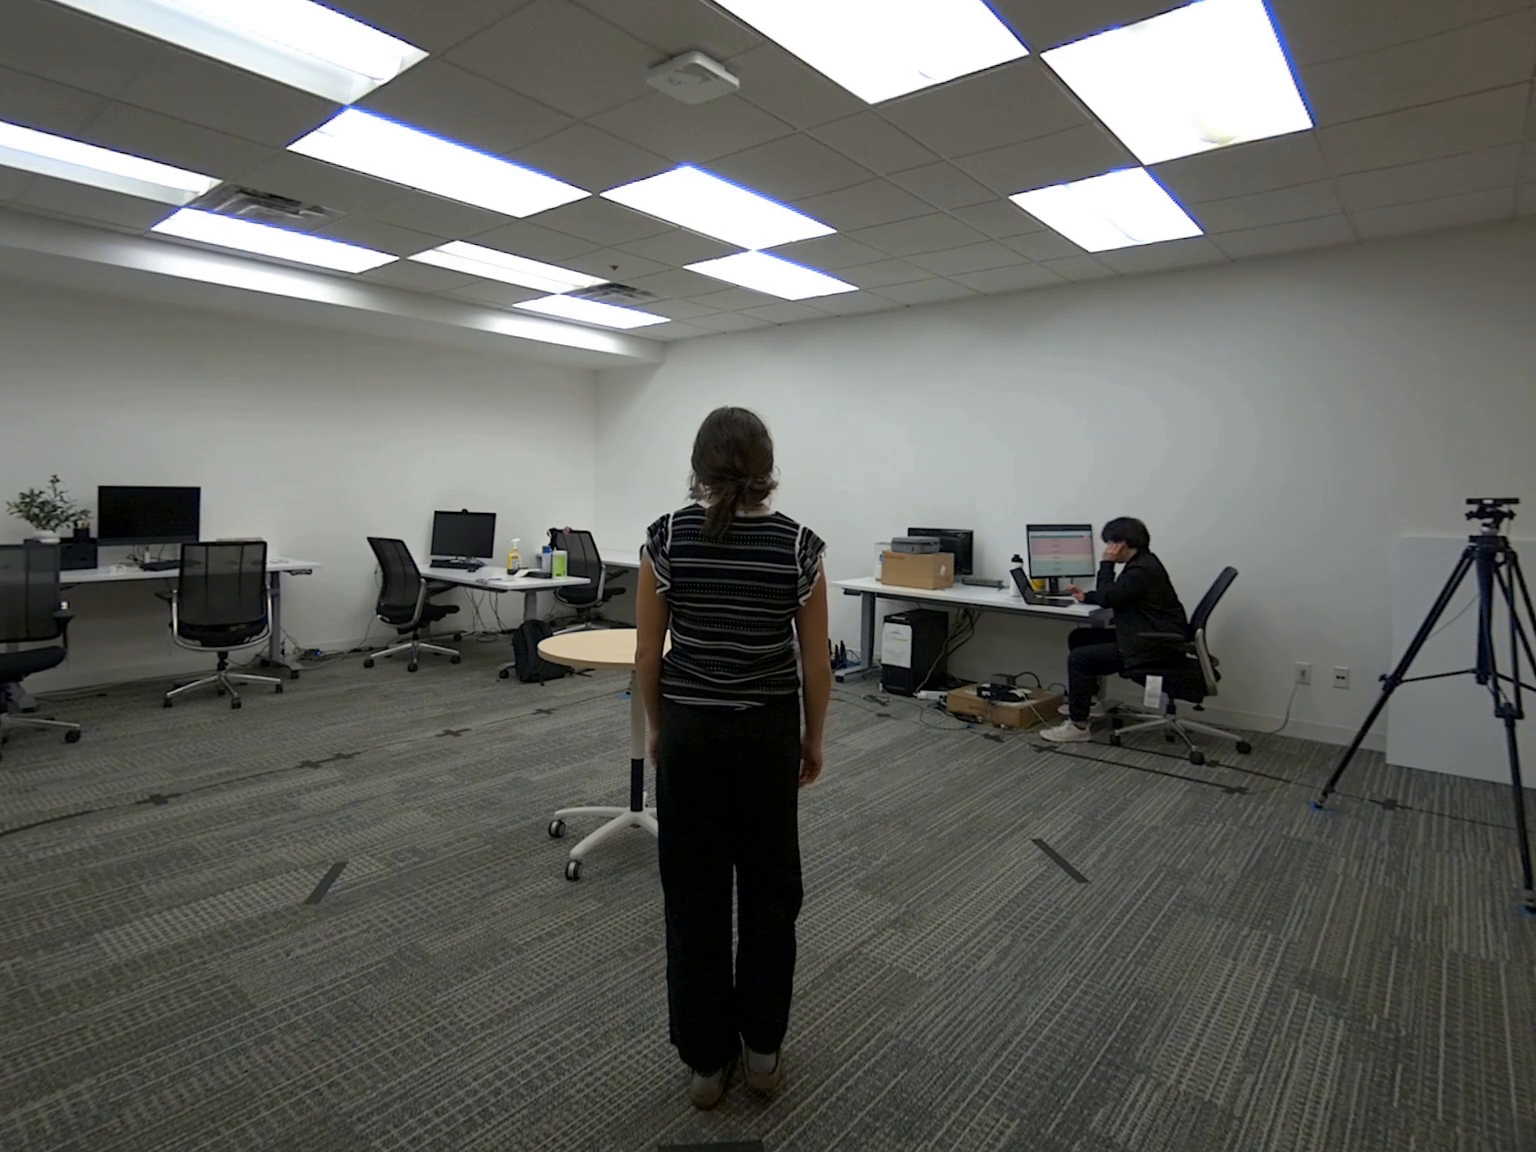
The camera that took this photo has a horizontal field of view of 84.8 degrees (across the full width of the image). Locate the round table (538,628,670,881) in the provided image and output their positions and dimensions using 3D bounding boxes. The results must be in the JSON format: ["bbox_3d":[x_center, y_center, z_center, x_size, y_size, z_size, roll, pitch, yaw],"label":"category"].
[{"bbox_3d":[-0.503,0.650,3.275,0.784,0.784,0.789,1,4,-2],"label":"round table"}]
